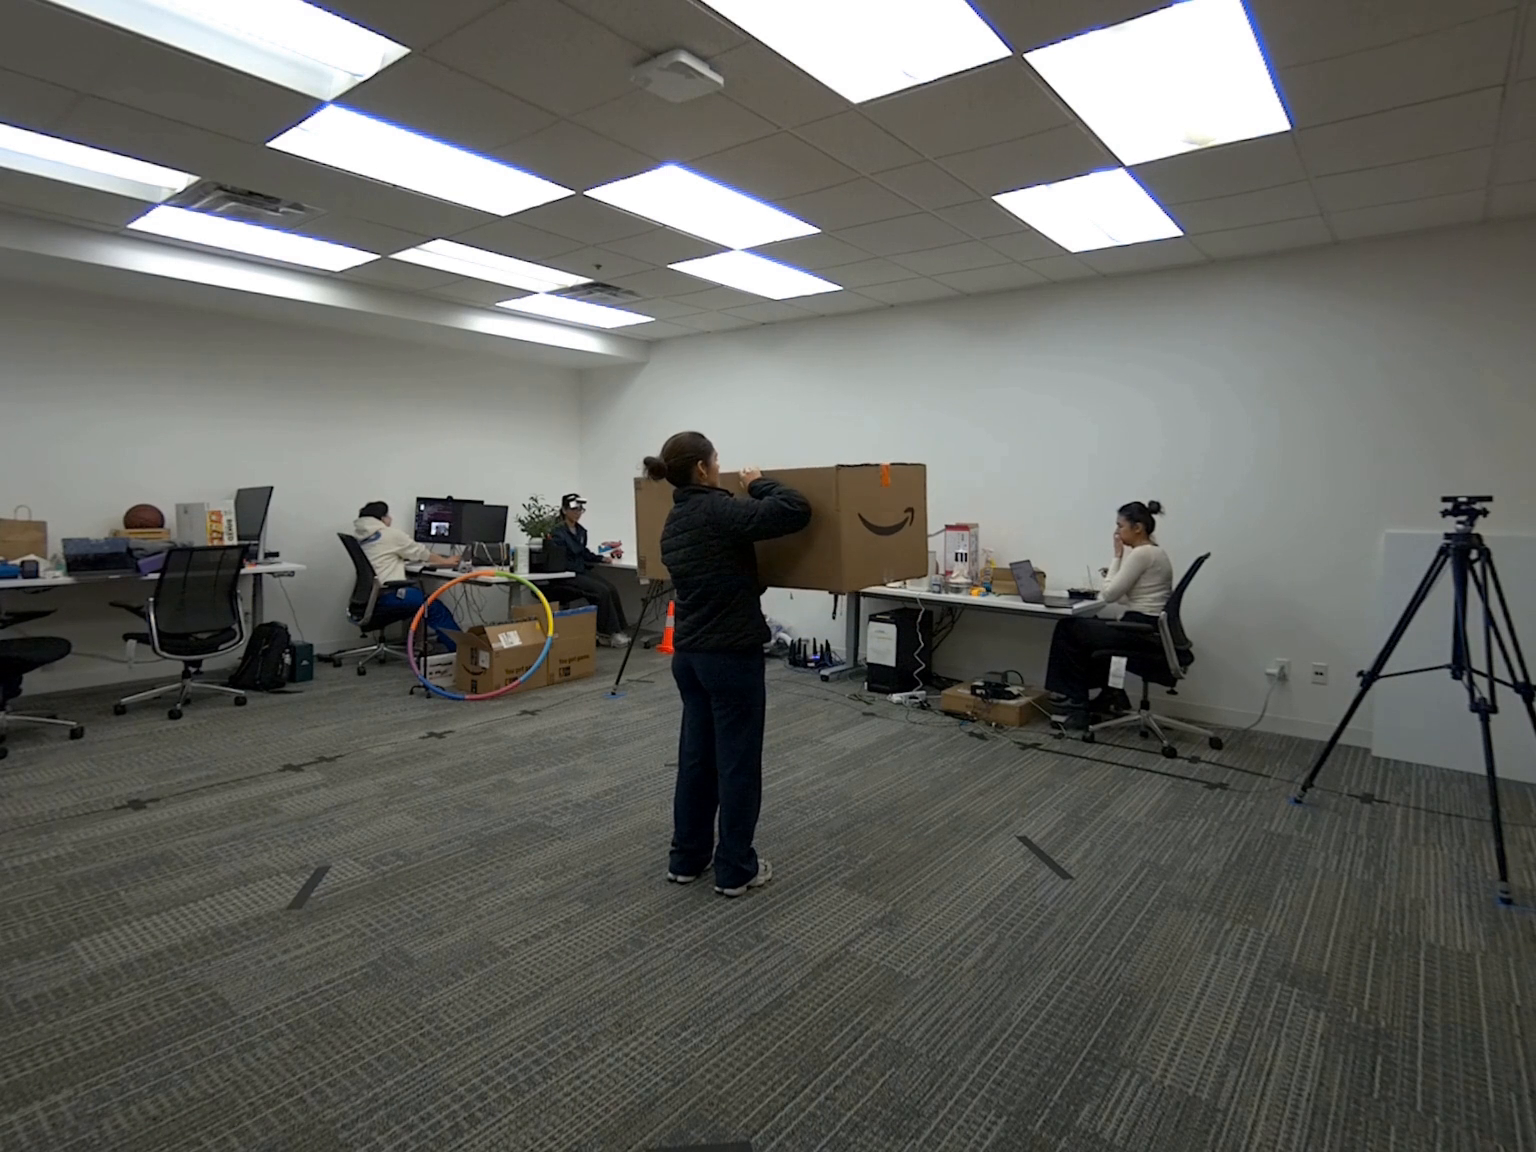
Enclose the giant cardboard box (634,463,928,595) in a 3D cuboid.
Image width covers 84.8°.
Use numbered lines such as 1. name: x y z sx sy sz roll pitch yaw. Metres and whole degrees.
1. giant cardboard box: 0.043 -0.207 3.351 1.060 0.425 0.561 3 6 42
